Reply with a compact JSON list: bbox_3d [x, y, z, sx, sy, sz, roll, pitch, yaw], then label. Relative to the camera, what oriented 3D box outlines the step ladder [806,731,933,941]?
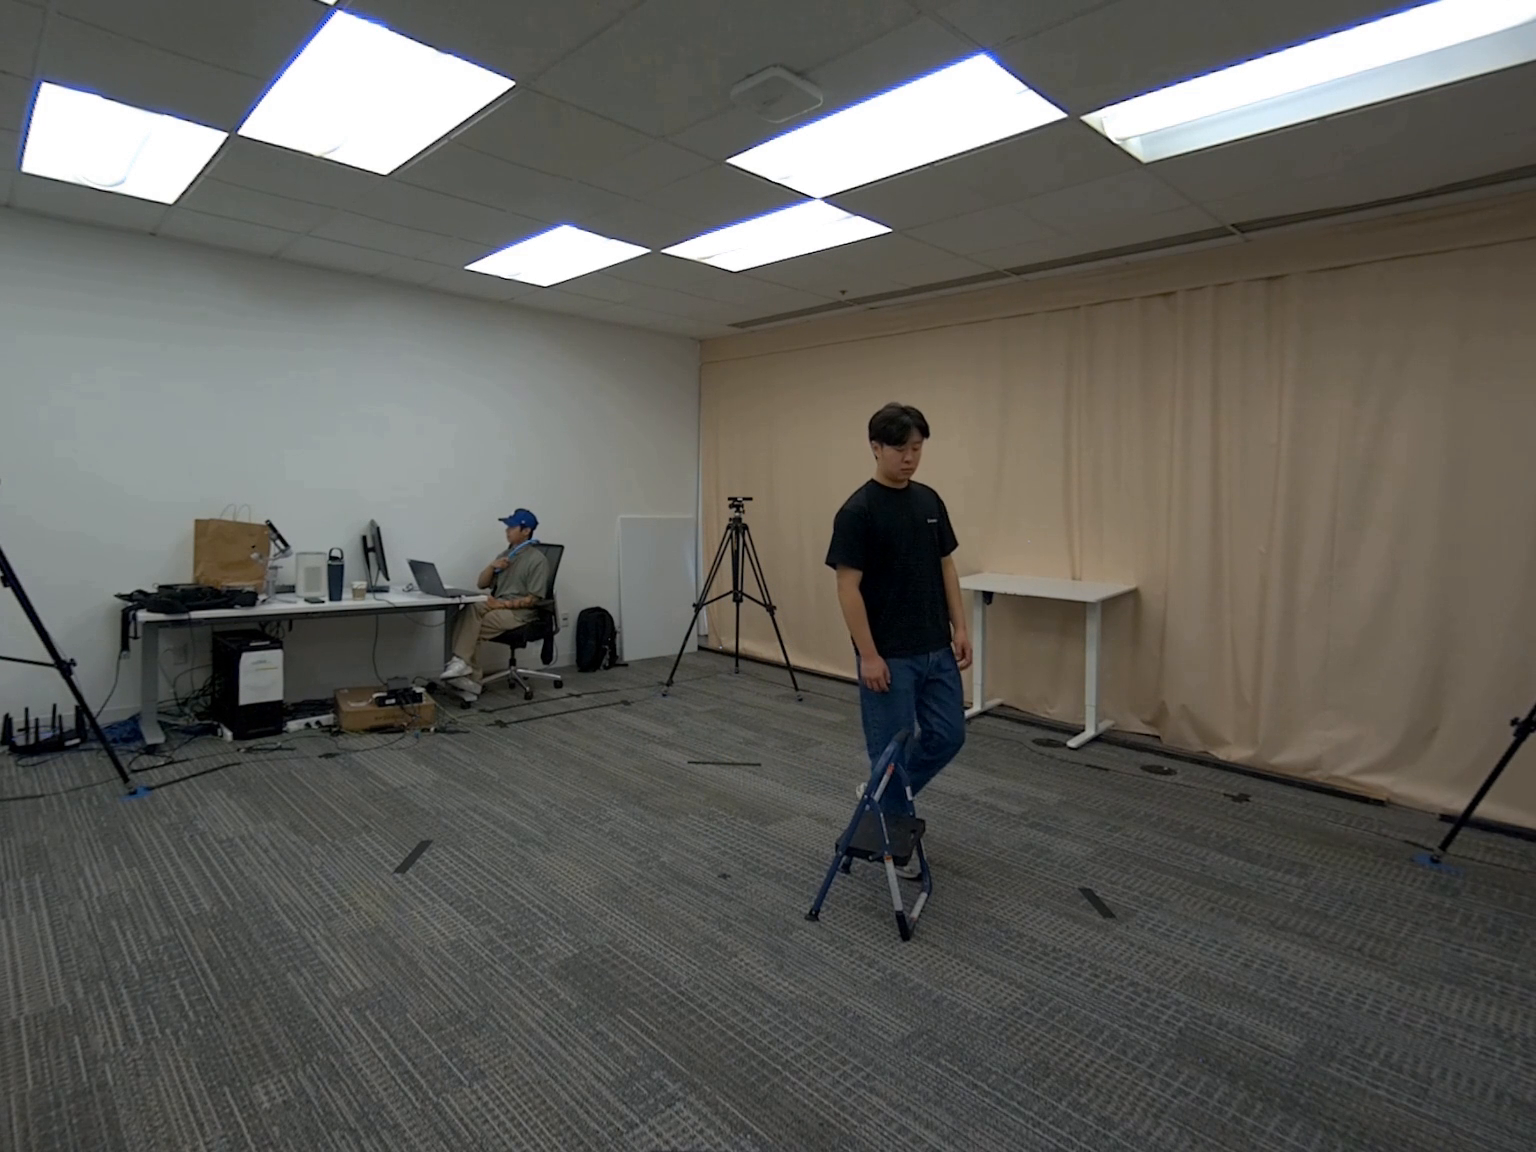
[{"bbox_3d":[0.364,0.837,2.897,0.355,0.604,0.424,3,4,22],"label":"step ladder"}]
